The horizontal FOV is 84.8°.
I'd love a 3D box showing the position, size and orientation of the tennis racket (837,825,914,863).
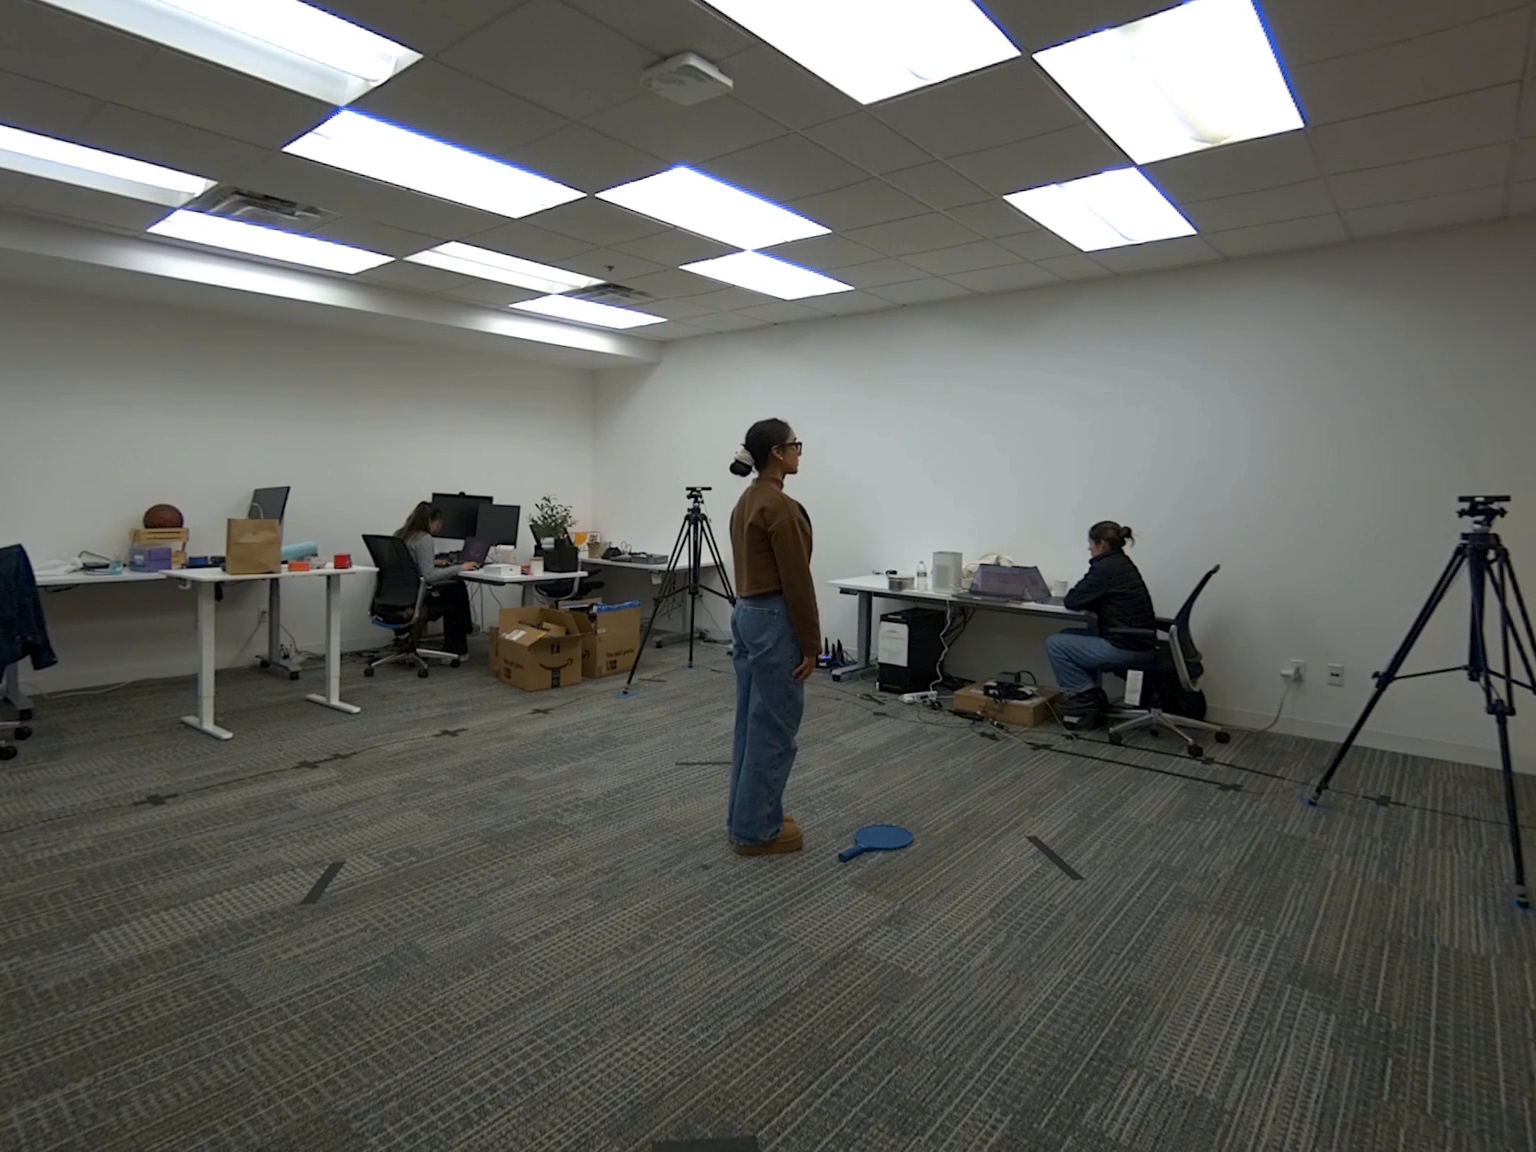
[{"bbox_3d":[0.402,1.043,3.344,0.221,0.031,0.420,6,6,42],"label":"tennis racket"}]
